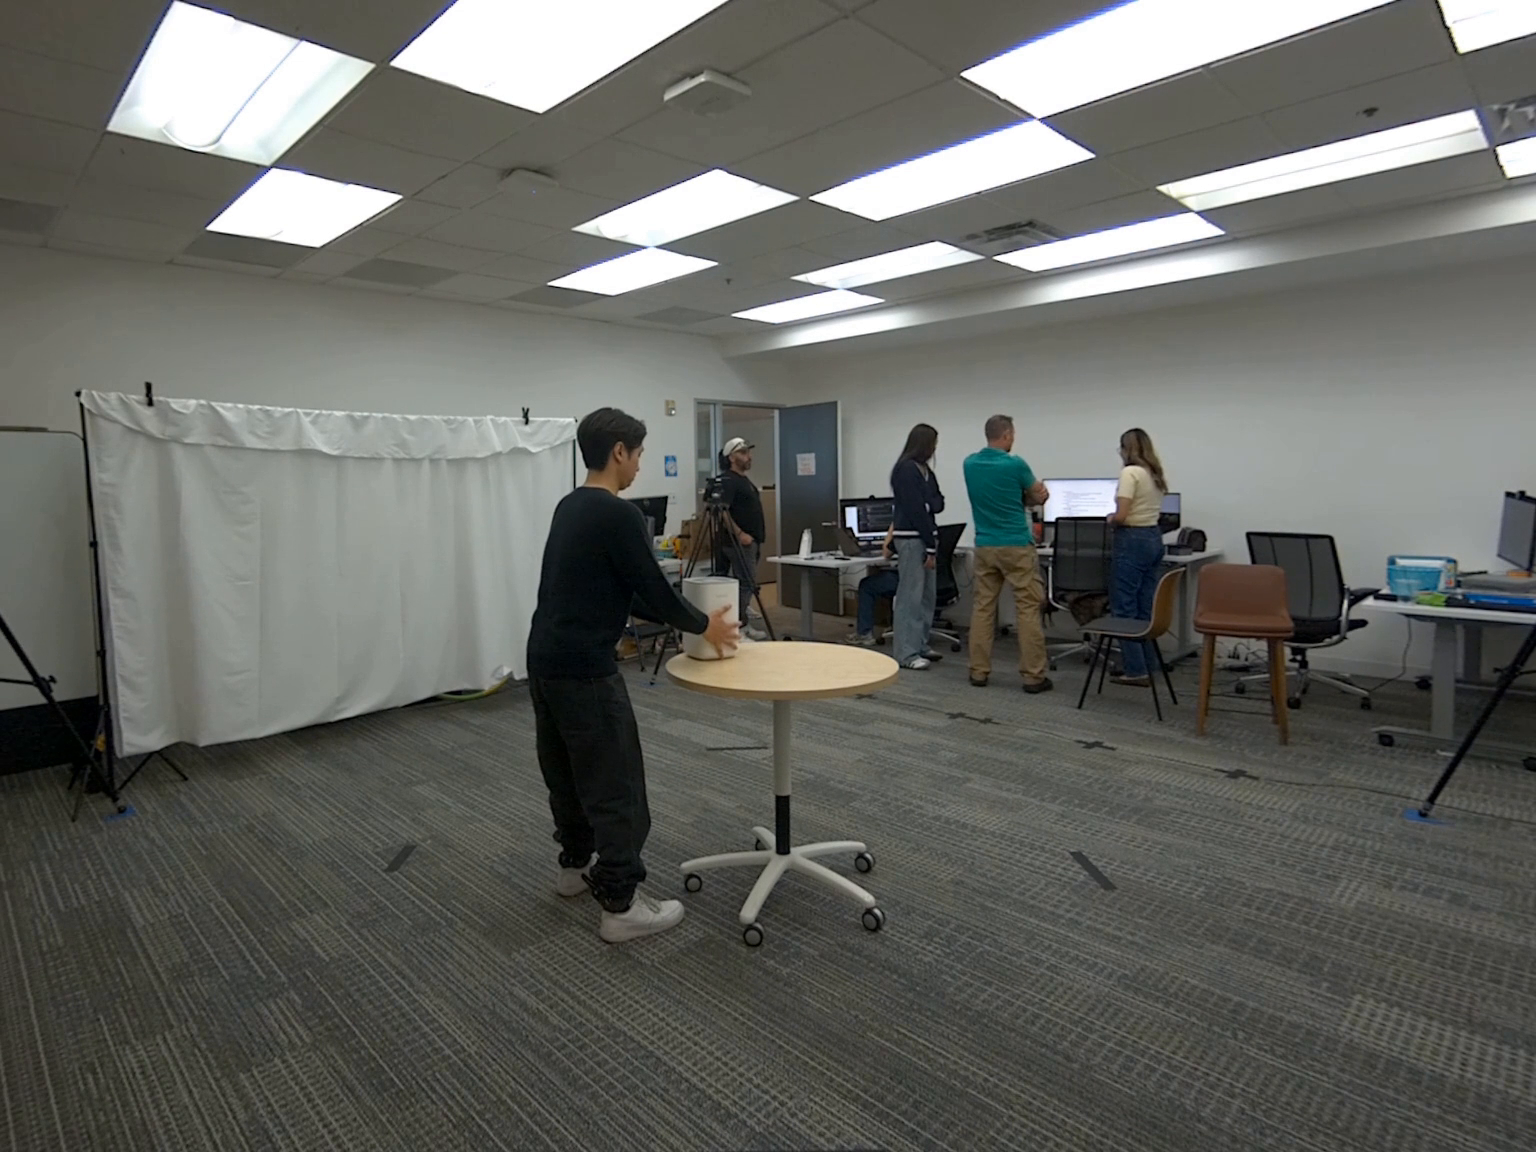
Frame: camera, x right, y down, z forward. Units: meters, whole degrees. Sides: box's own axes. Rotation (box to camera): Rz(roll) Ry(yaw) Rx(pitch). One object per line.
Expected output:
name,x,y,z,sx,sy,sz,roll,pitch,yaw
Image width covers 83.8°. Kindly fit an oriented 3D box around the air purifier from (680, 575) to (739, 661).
air purifier,-0.195,0.144,2.951,0.167,0.264,0.176,-2,4,-30
